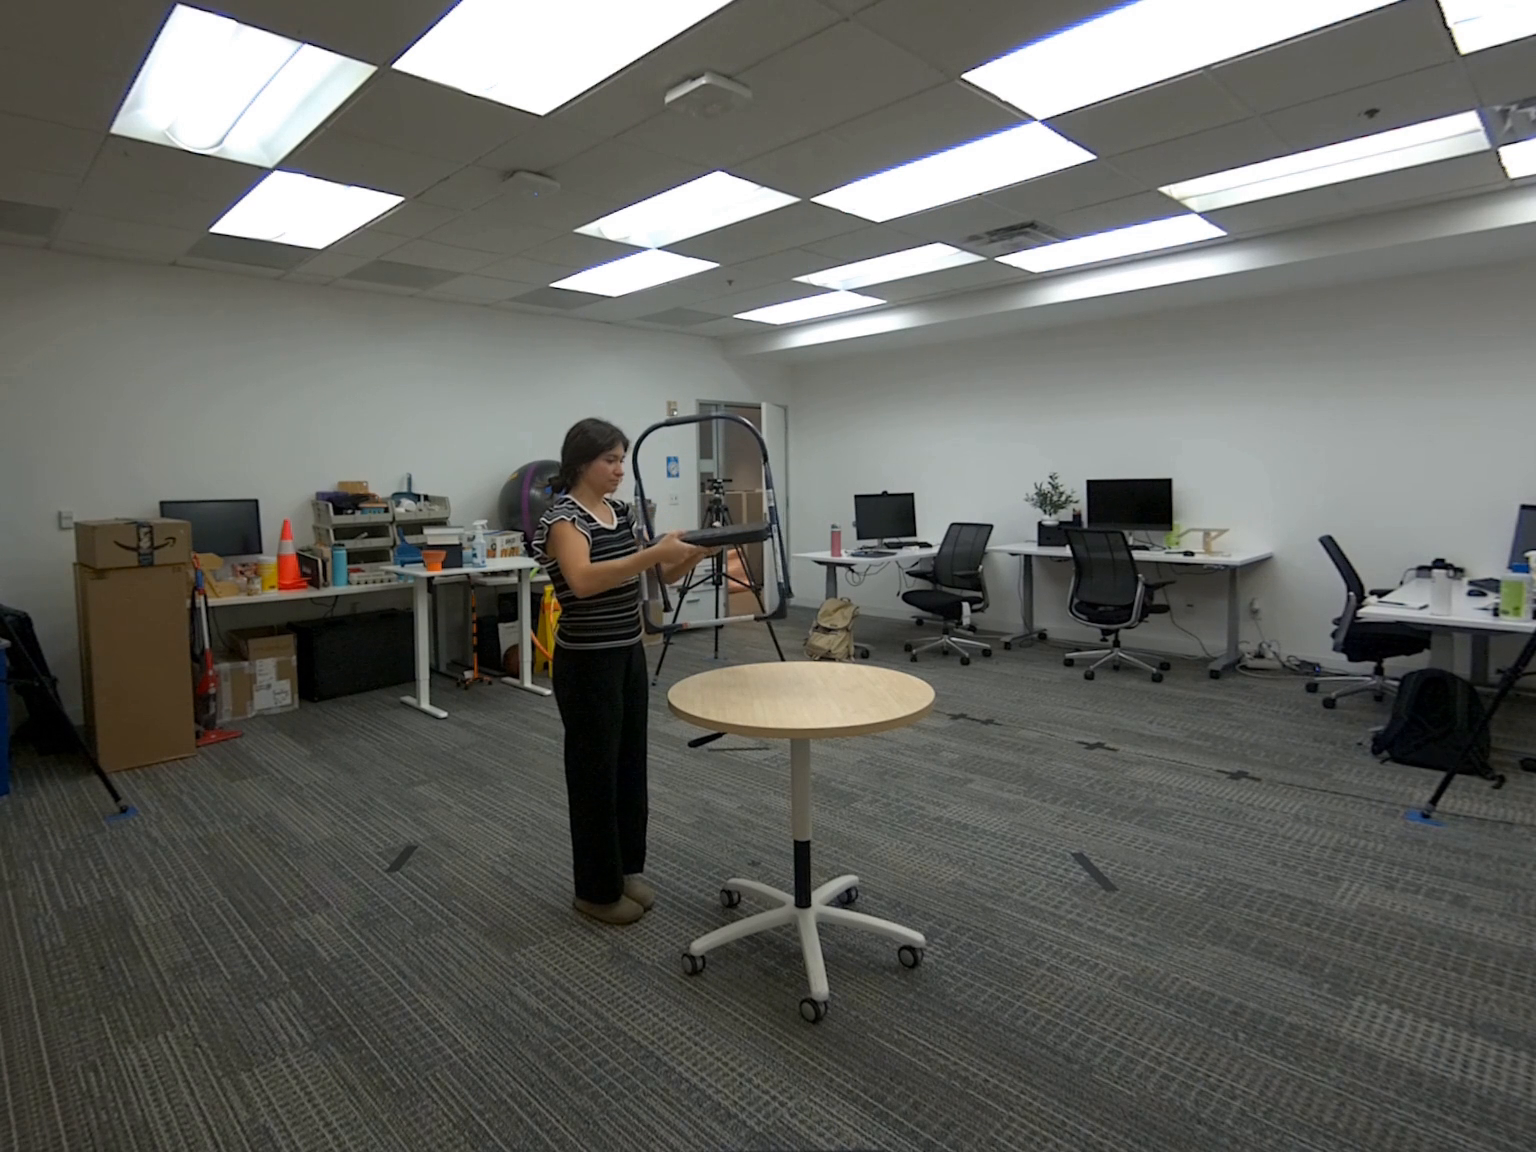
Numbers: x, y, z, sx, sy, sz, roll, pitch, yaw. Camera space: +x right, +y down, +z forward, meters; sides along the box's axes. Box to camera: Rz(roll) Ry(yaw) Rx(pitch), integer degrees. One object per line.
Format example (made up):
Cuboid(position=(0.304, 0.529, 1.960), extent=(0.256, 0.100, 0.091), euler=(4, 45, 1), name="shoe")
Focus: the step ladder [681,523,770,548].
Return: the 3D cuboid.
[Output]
Cuboid(position=(-0.180, -0.180, 2.553), extent=(0.431, 0.601, 0.352), euler=(-8, 8, 0), name="step ladder")
